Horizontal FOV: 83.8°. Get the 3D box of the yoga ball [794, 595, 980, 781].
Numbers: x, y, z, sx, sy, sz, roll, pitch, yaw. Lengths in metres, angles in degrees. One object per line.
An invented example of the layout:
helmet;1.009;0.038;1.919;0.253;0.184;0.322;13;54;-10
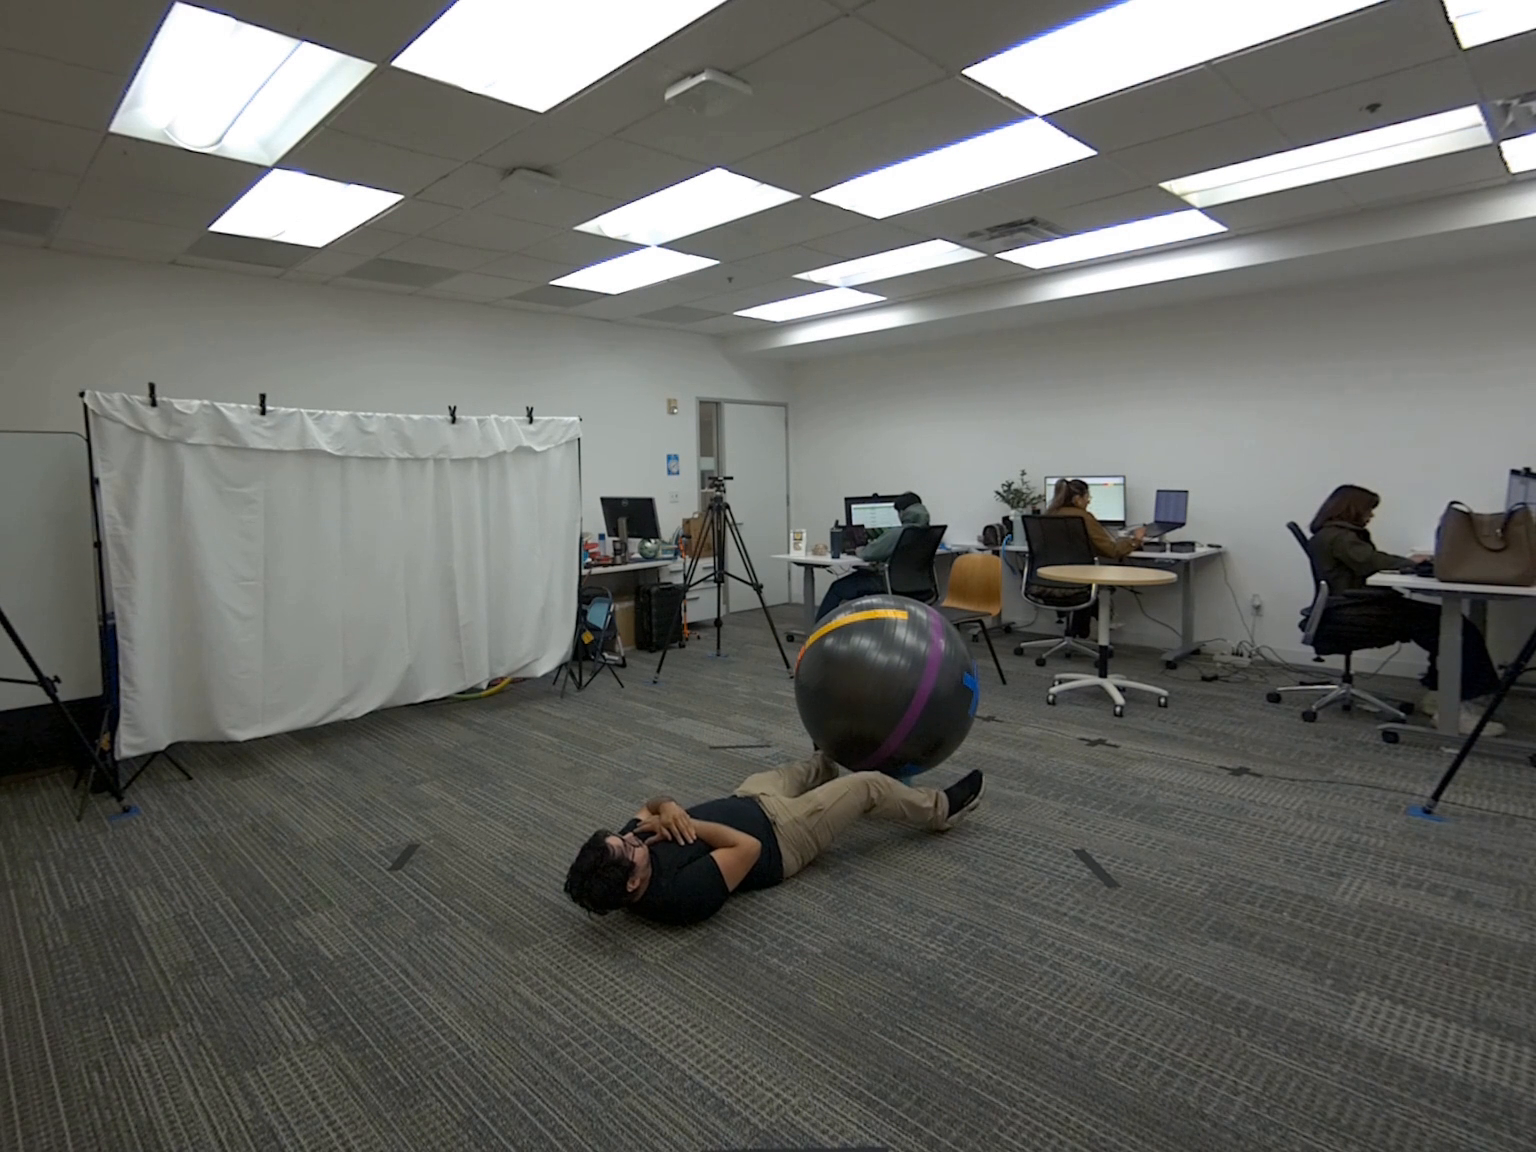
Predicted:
yoga ball;0.492;0.463;3.586;0.757;0.755;0.762;-1;5;-2
